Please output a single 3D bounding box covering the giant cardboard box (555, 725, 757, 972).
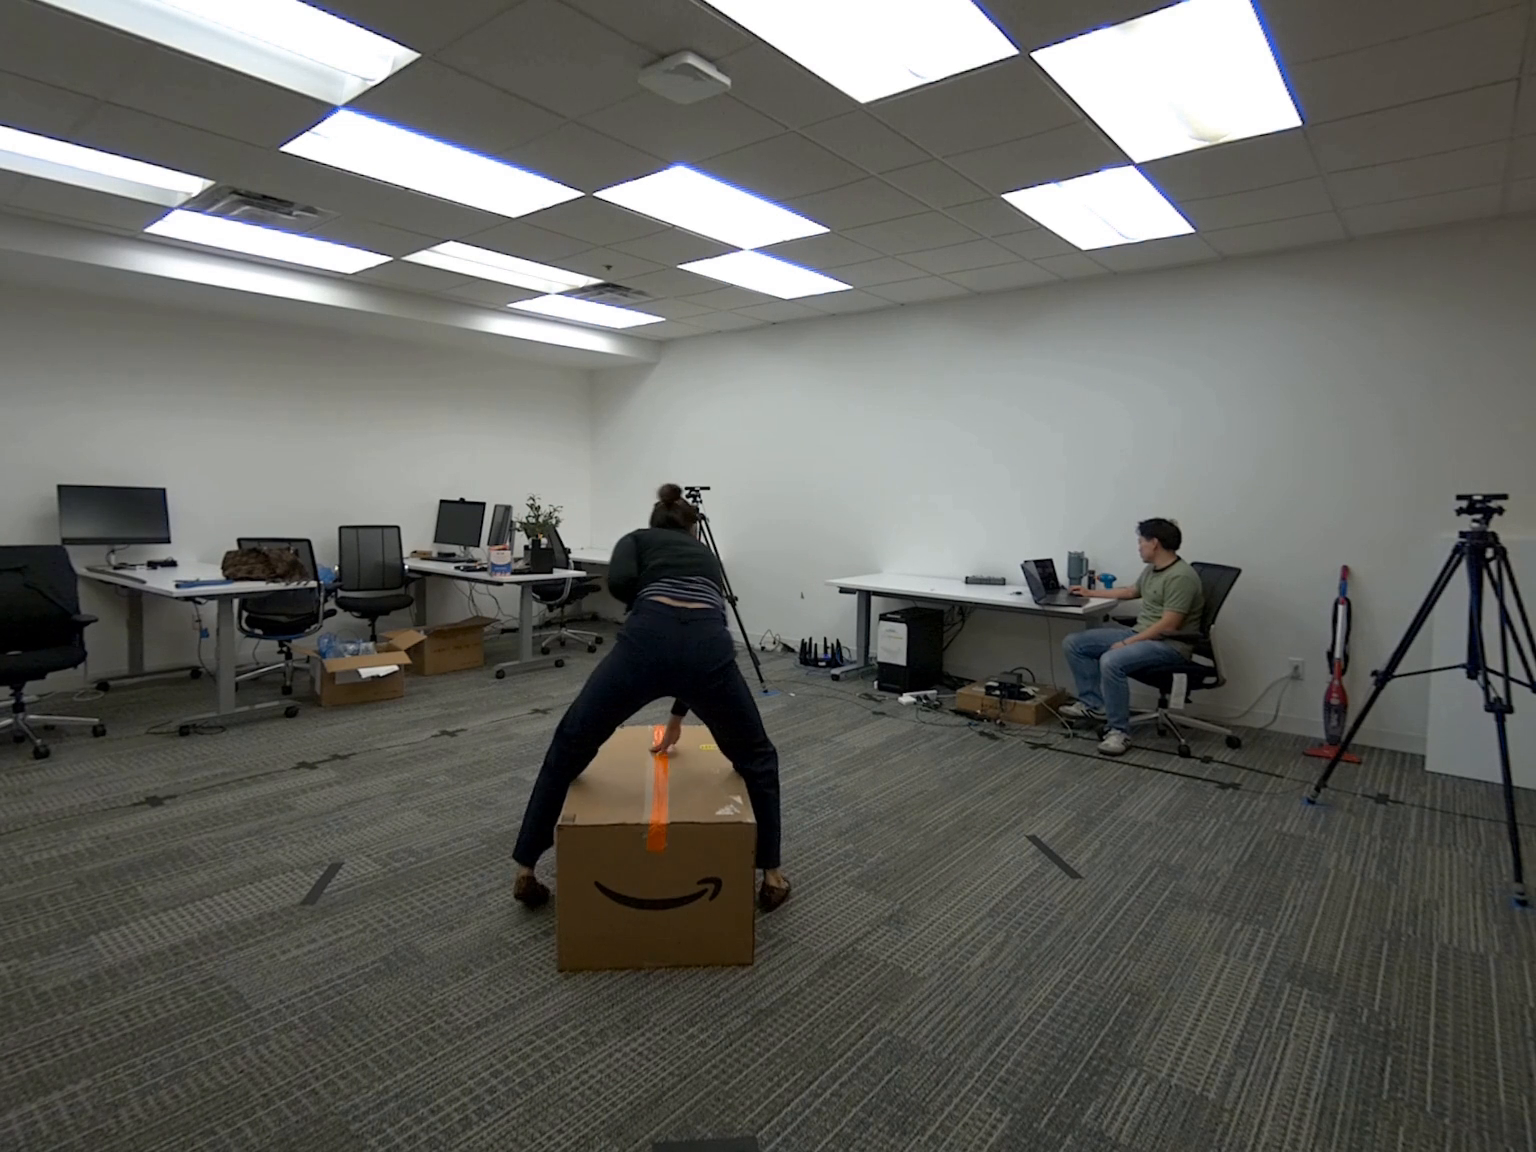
[{"bbox_3d":[-0.386,0.867,2.946,0.574,0.425,1.037,1,5,-7],"label":"giant cardboard box"}]
